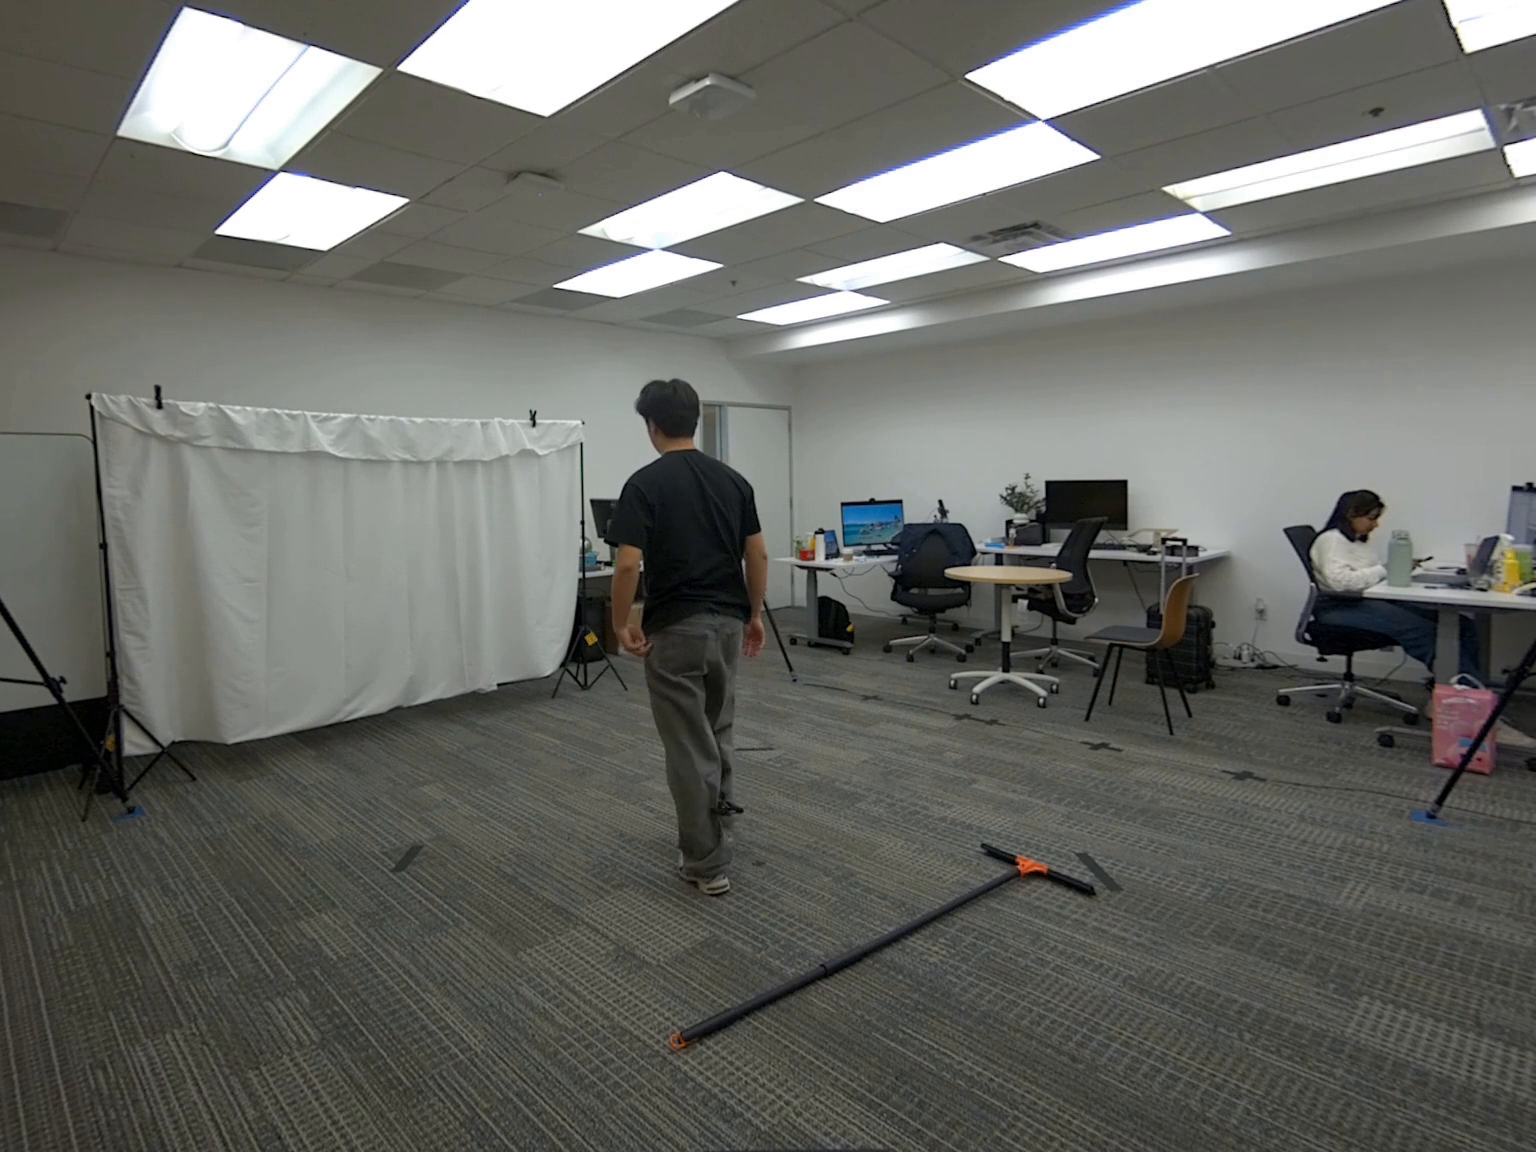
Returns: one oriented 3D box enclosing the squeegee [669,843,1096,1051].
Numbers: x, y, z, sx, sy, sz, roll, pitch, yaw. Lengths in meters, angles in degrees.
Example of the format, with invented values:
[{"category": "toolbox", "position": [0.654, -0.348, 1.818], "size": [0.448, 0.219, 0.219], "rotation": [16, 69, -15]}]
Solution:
[{"category": "squeegee", "position": [0.356, 1.055, 2.562], "size": [1.499, 0.053, 0.450], "rotation": [-7, 6, -38]}]
